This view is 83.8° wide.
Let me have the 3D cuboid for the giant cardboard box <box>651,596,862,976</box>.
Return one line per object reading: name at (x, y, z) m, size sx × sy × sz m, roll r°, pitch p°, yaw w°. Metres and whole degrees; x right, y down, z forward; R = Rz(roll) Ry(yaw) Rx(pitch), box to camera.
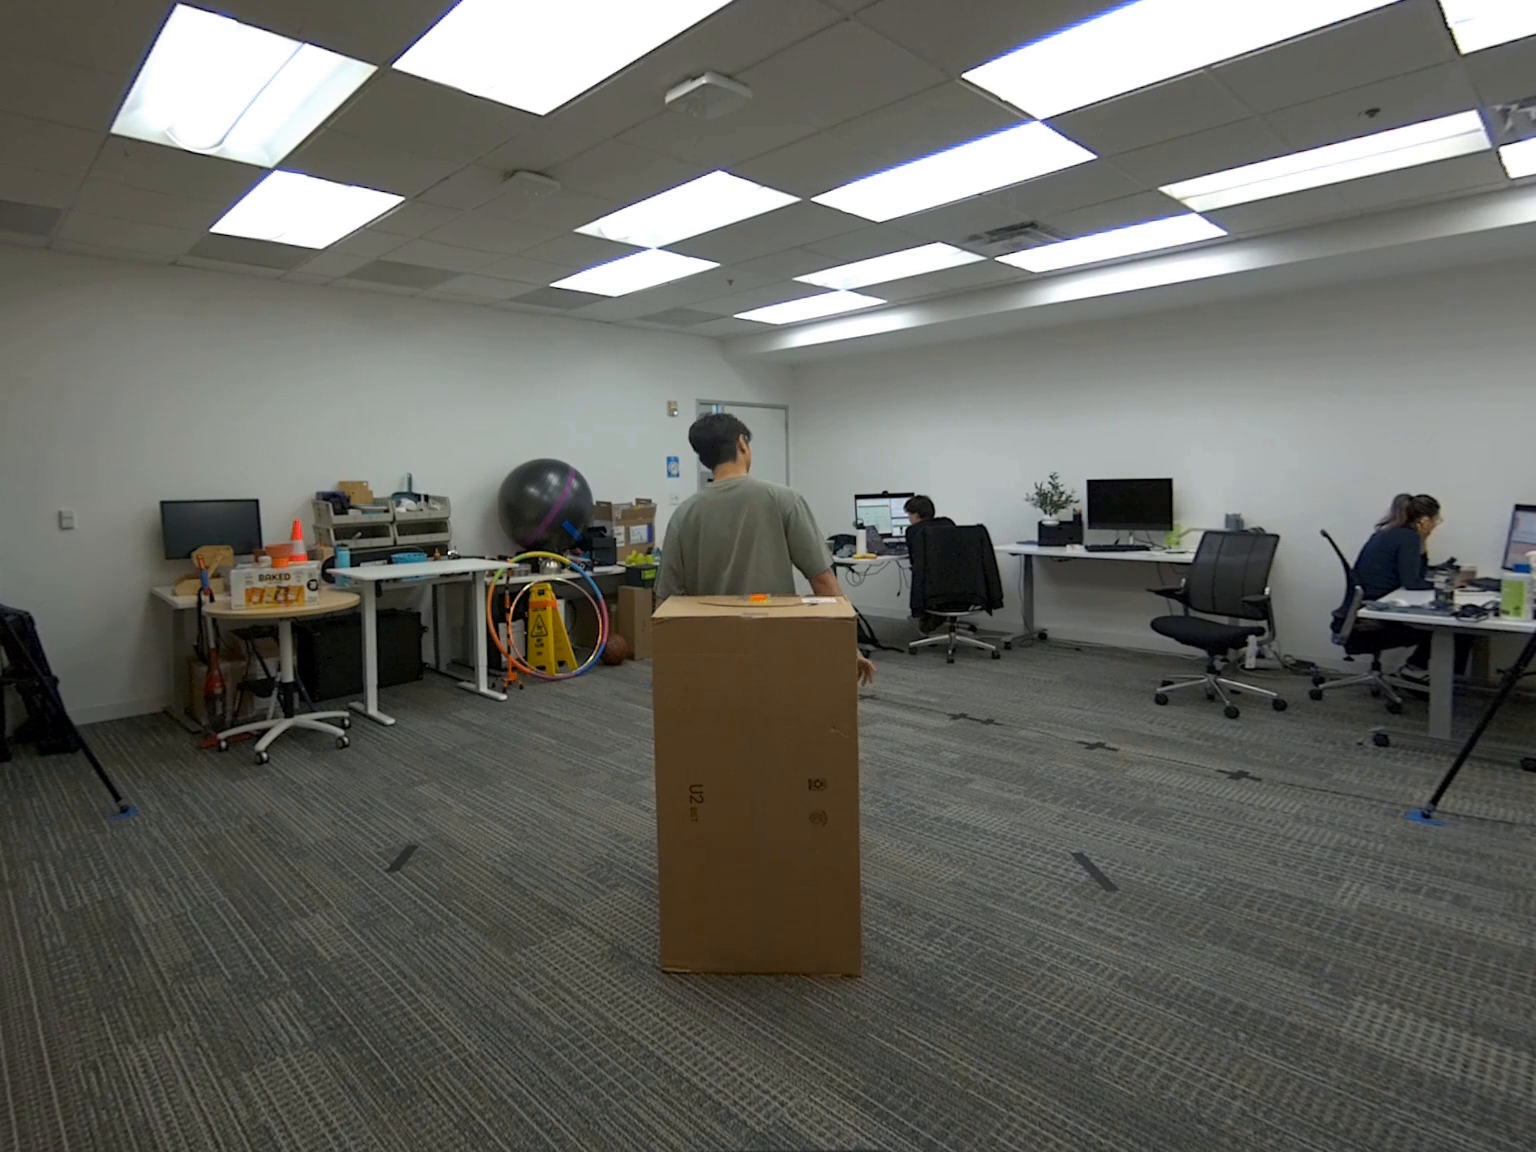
giant cardboard box at (-0.020, 0.601, 2.584) m, size 0.579 × 1.022 × 0.426 m, roll -1°, pitch 4°, yaw 3°
